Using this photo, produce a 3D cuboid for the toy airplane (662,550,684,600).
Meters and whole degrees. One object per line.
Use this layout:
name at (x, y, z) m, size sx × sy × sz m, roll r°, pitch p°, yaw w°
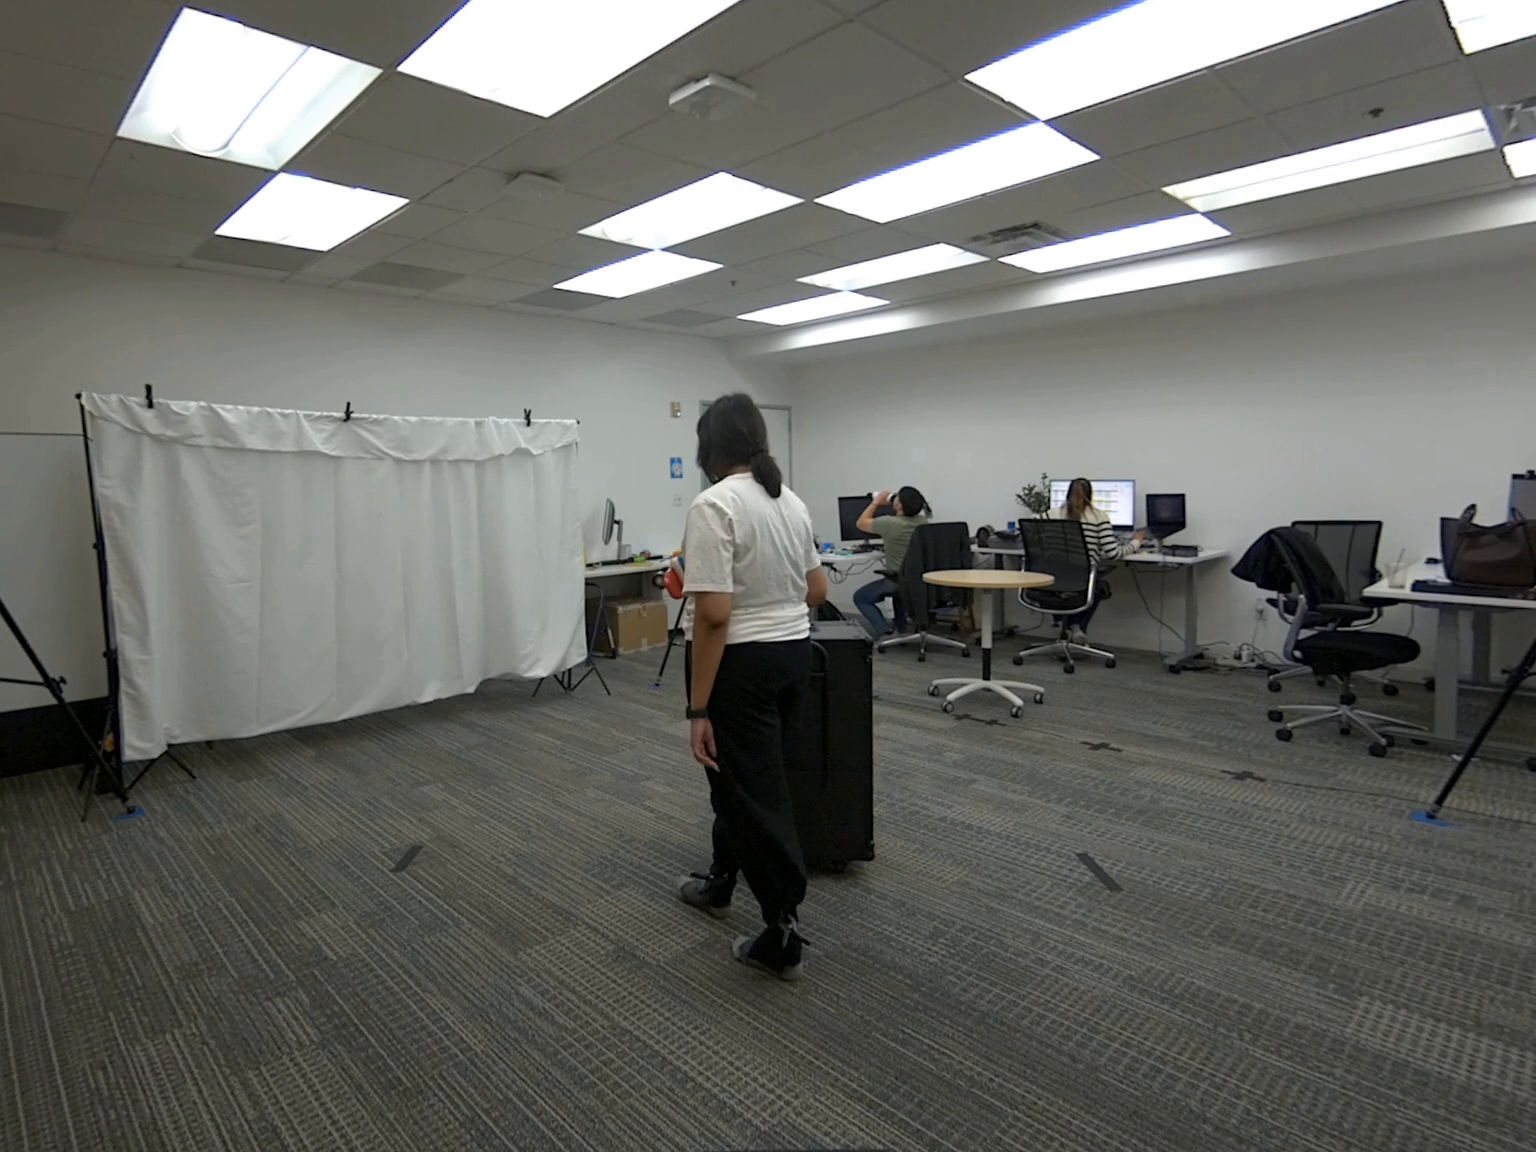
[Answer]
toy airplane at (-0.242, 0.032, 2.694) m, size 0.250 × 0.156 × 0.259 m, roll 39°, pitch 15°, yaw -30°
